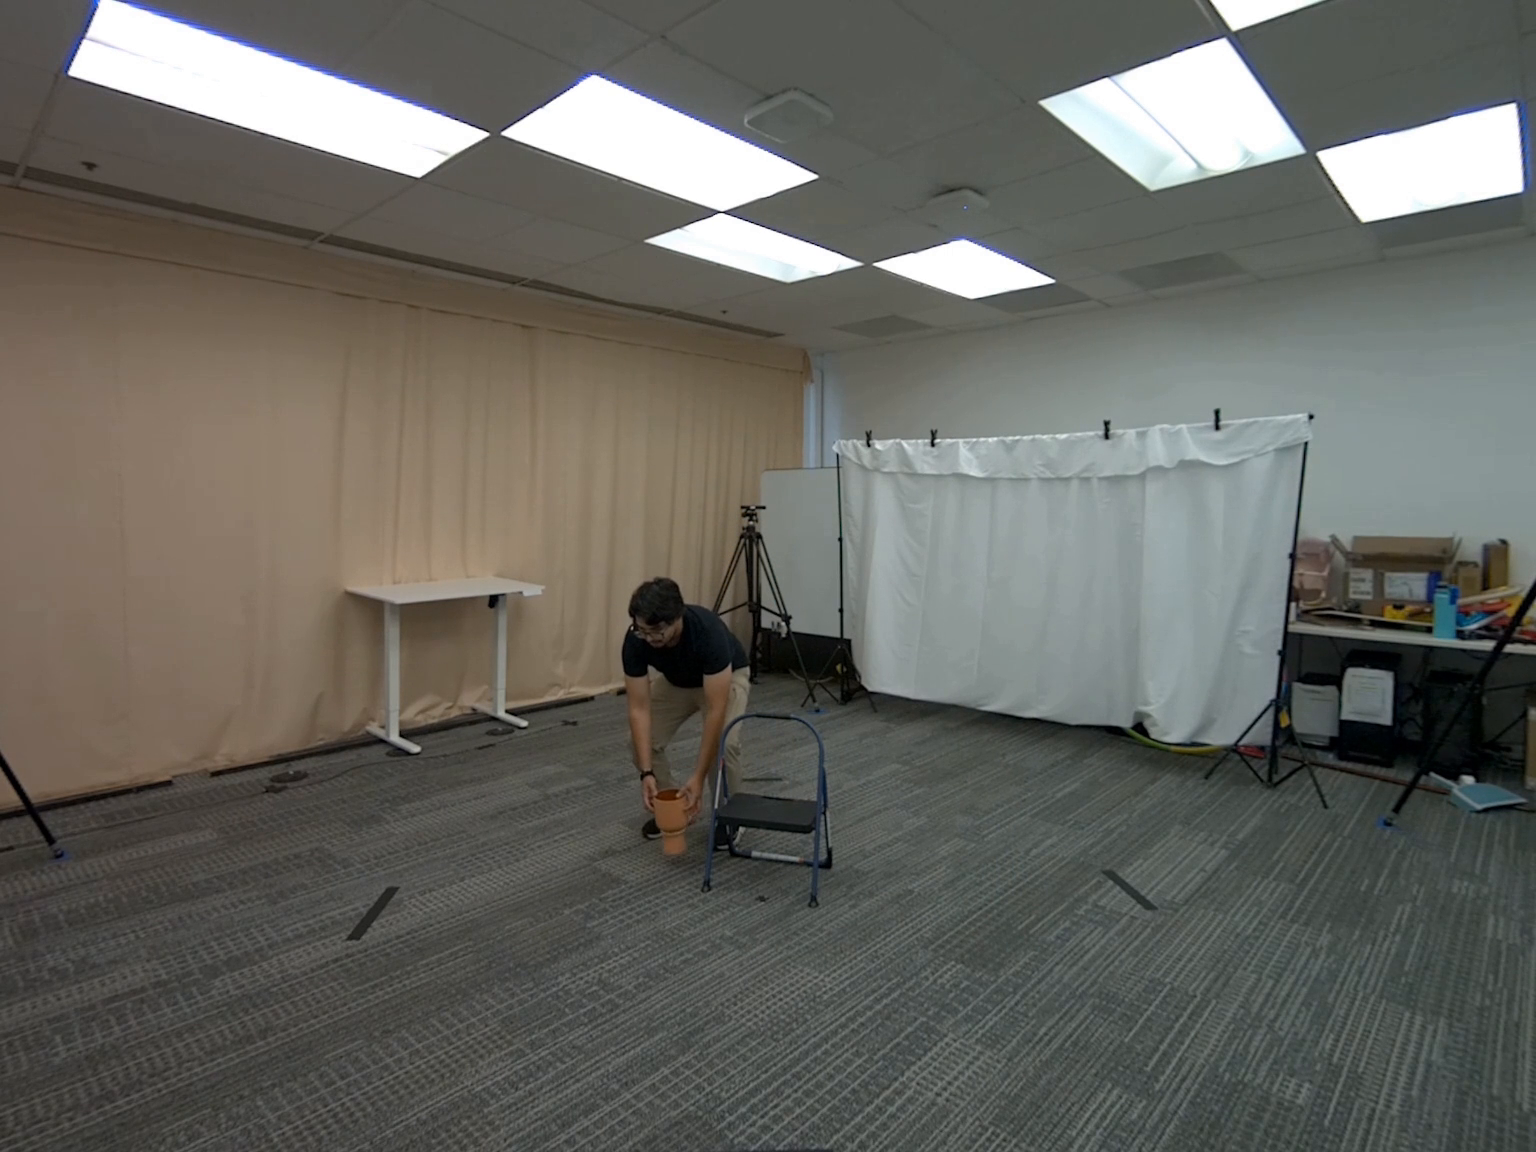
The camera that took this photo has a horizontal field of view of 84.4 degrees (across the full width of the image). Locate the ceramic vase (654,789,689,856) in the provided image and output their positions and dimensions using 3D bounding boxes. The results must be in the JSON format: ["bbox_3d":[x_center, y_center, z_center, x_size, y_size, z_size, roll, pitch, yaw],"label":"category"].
[{"bbox_3d":[-0.372,0.951,3.256,0.131,0.219,0.164,-5,4,-40],"label":"ceramic vase"}]
